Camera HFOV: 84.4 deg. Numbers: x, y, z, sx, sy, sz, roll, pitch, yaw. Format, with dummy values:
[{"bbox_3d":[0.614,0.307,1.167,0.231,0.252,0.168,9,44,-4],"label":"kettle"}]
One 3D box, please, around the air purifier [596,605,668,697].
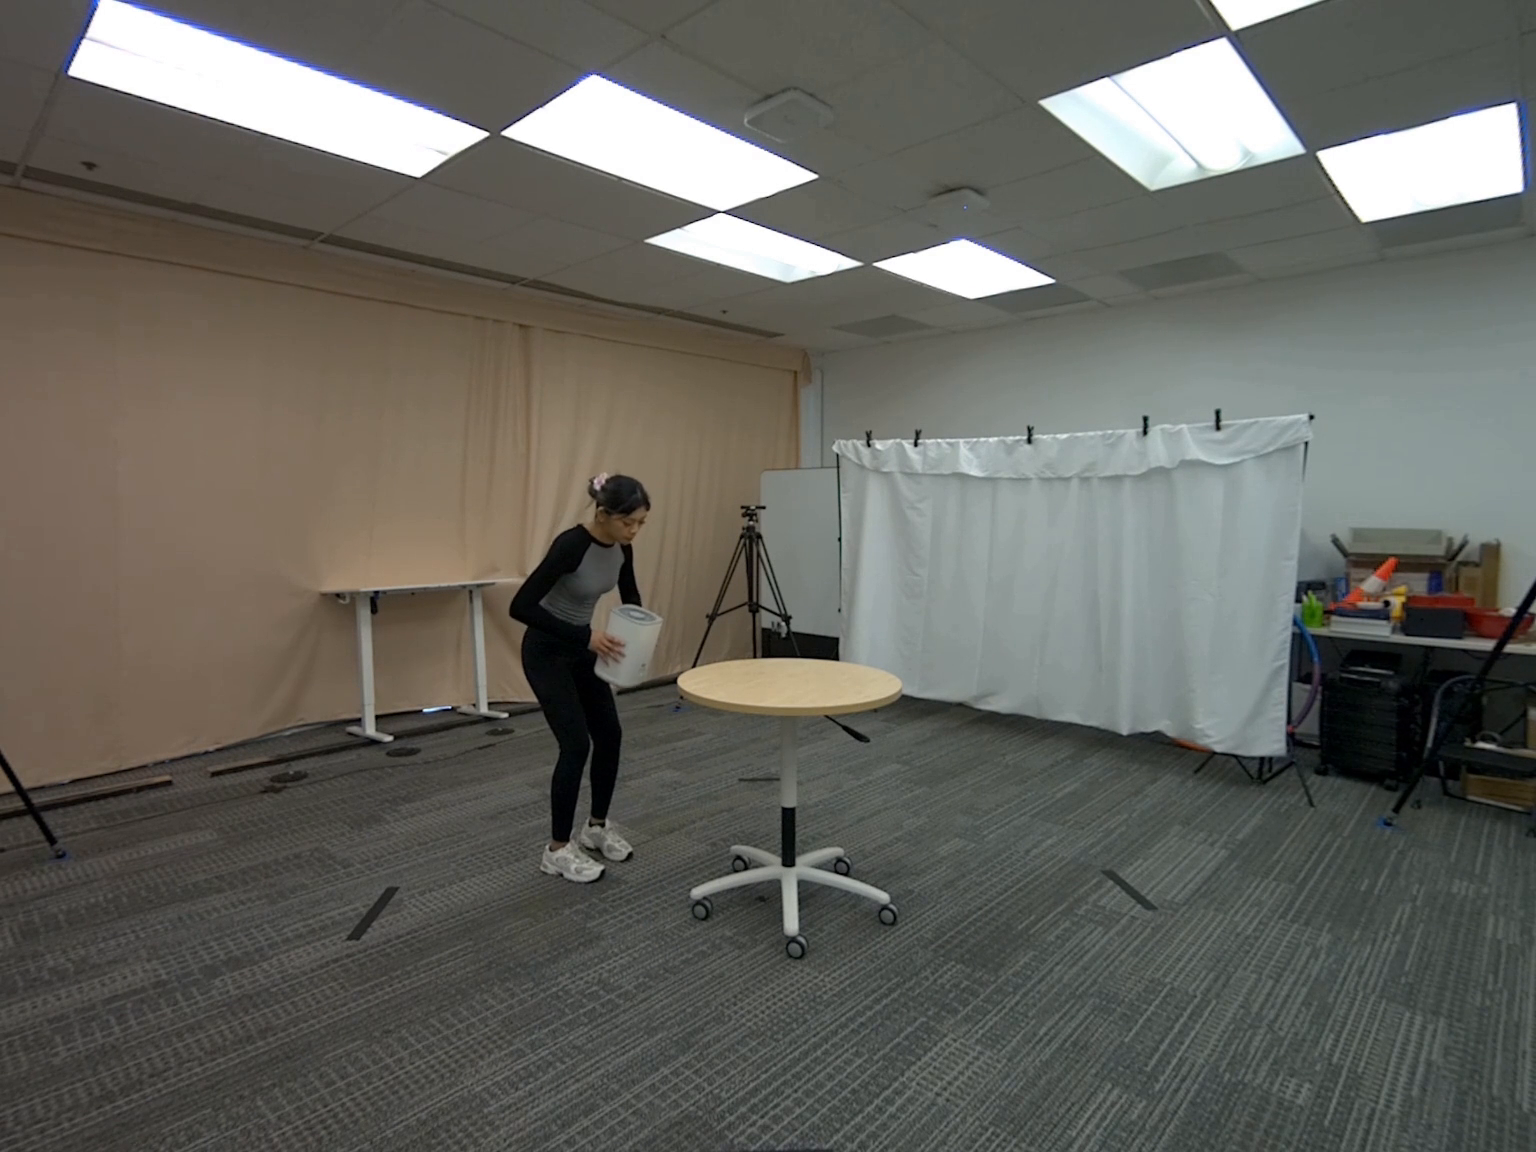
[{"bbox_3d":[-0.520,0.266,3.099,0.176,0.264,0.167,23,14,23],"label":"air purifier"}]
